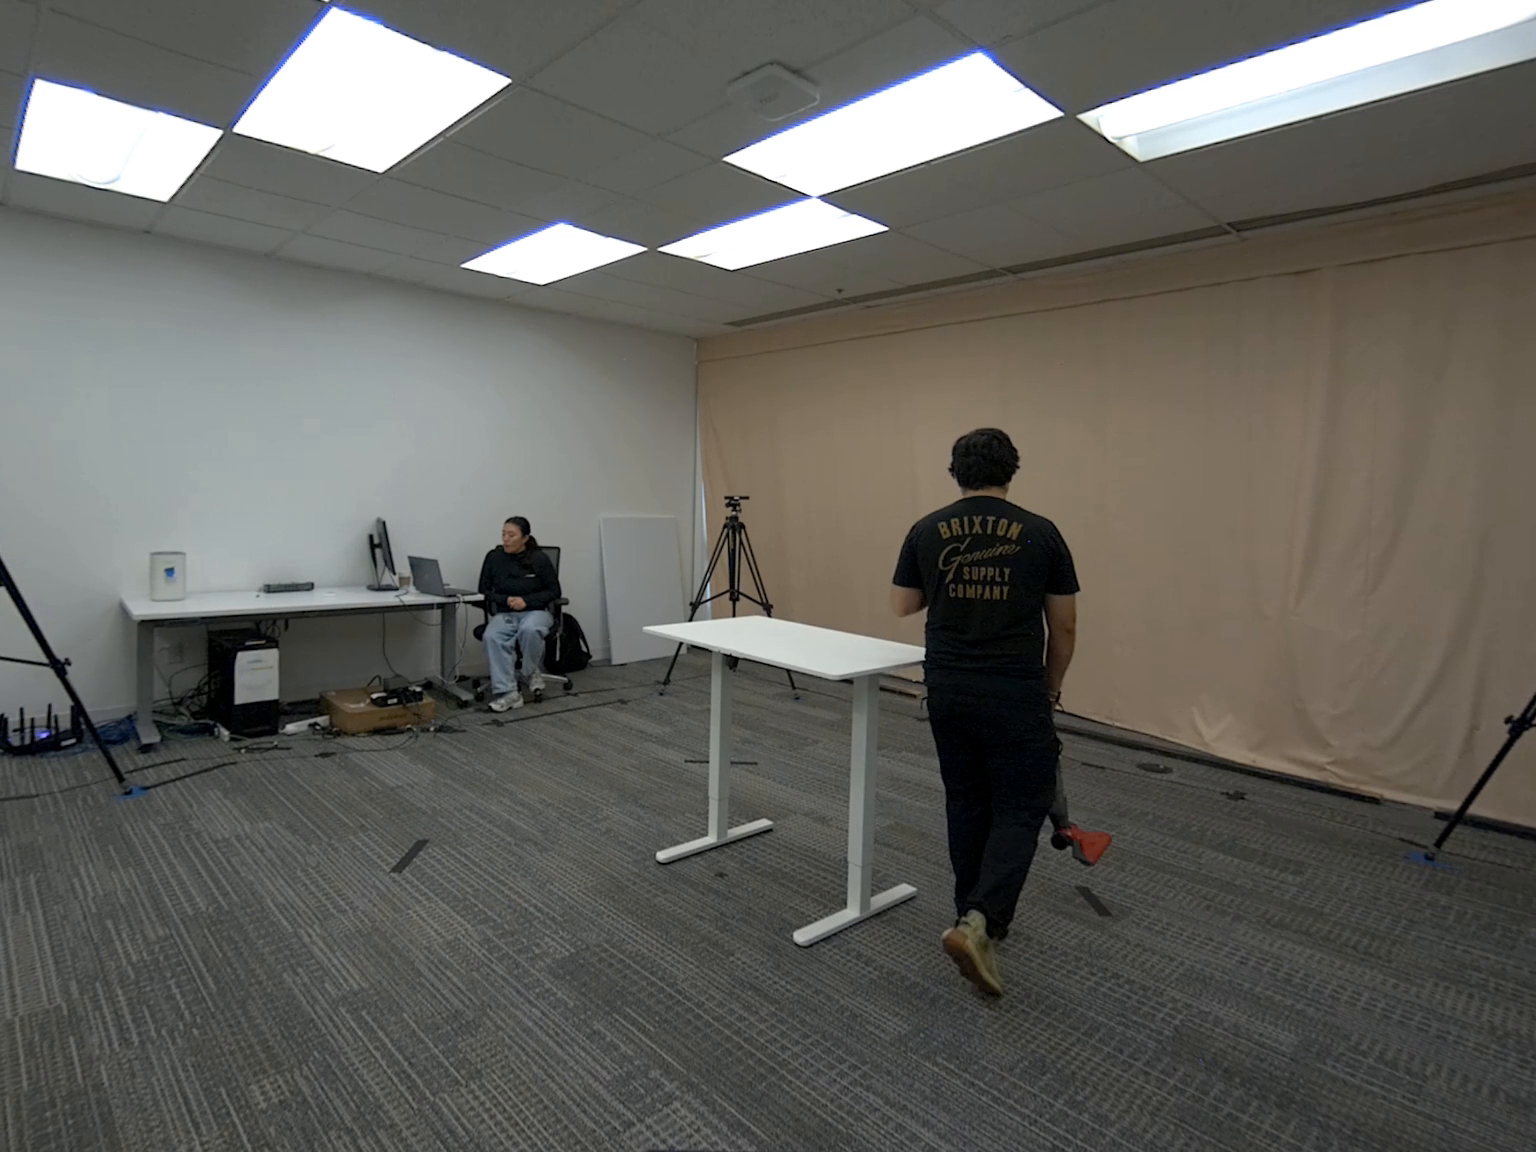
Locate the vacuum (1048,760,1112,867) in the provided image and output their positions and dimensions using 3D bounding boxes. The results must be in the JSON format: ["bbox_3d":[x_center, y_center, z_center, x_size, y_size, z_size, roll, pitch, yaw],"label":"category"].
[{"bbox_3d":[0.820,0.377,2.789,0.145,1.060,0.247,-27,-13,34],"label":"vacuum"}]
